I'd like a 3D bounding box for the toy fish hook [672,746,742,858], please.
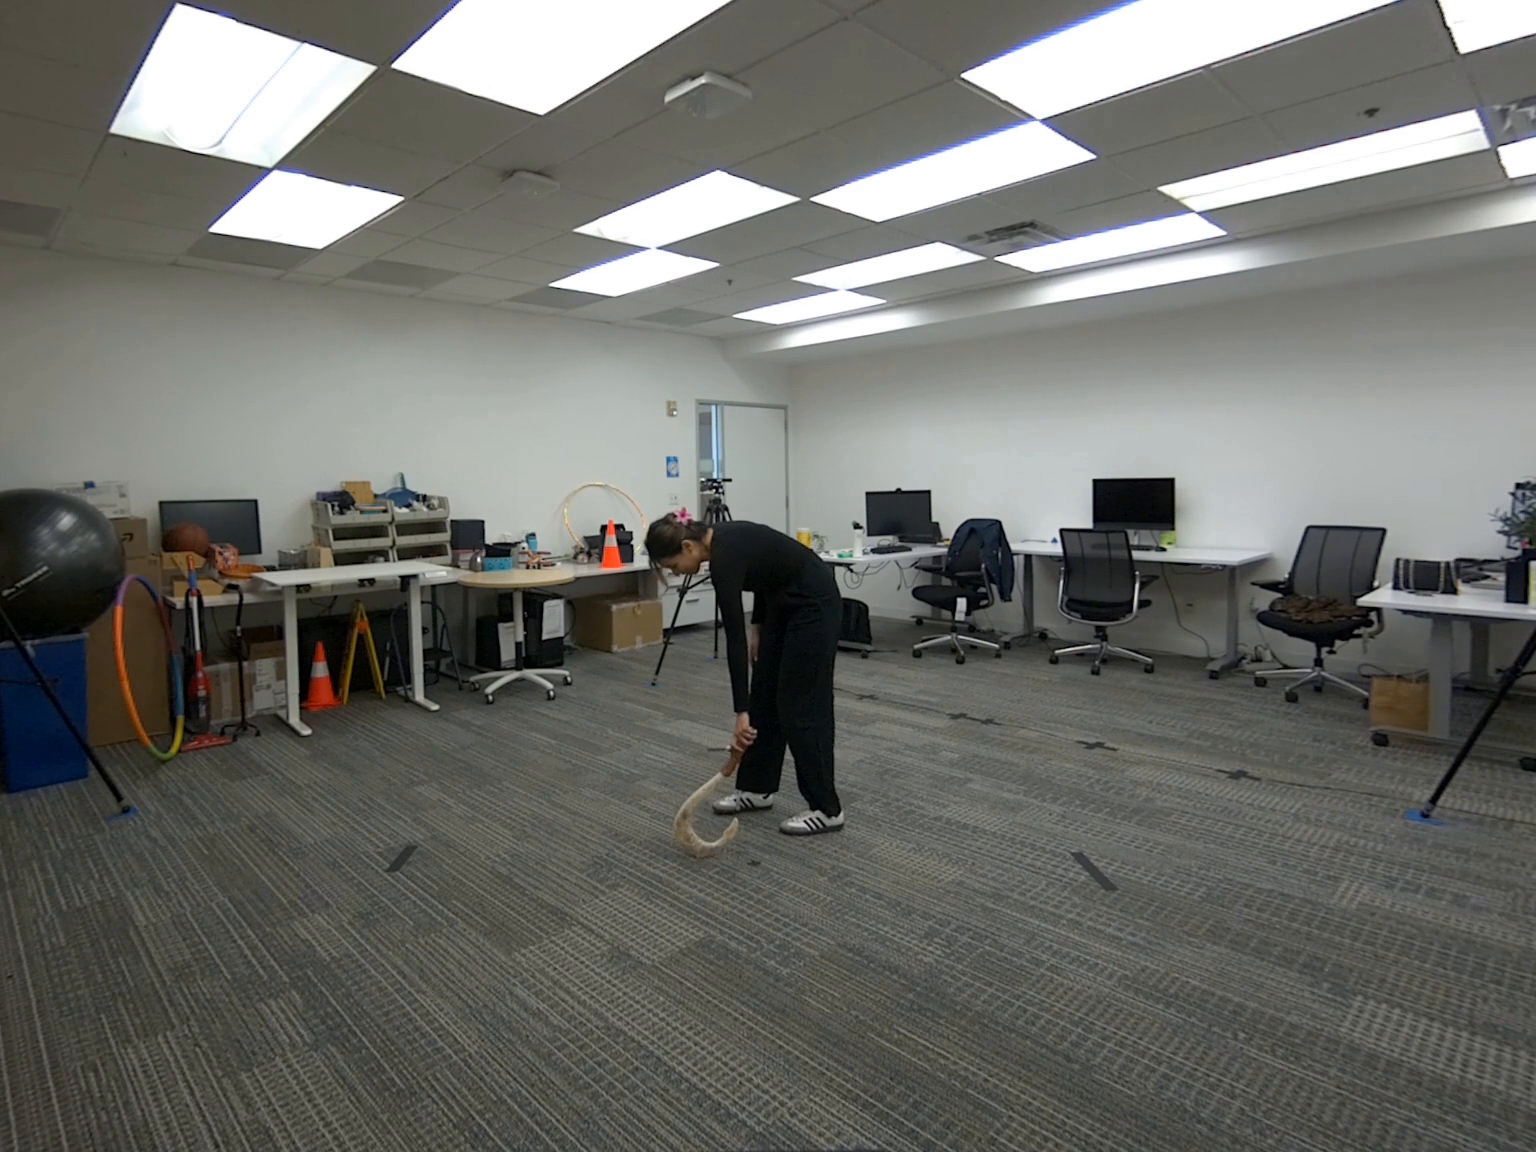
[{"bbox_3d":[-0.153,0.807,3.179,0.222,0.507,0.049,33,-3,-9],"label":"toy fish hook"}]
